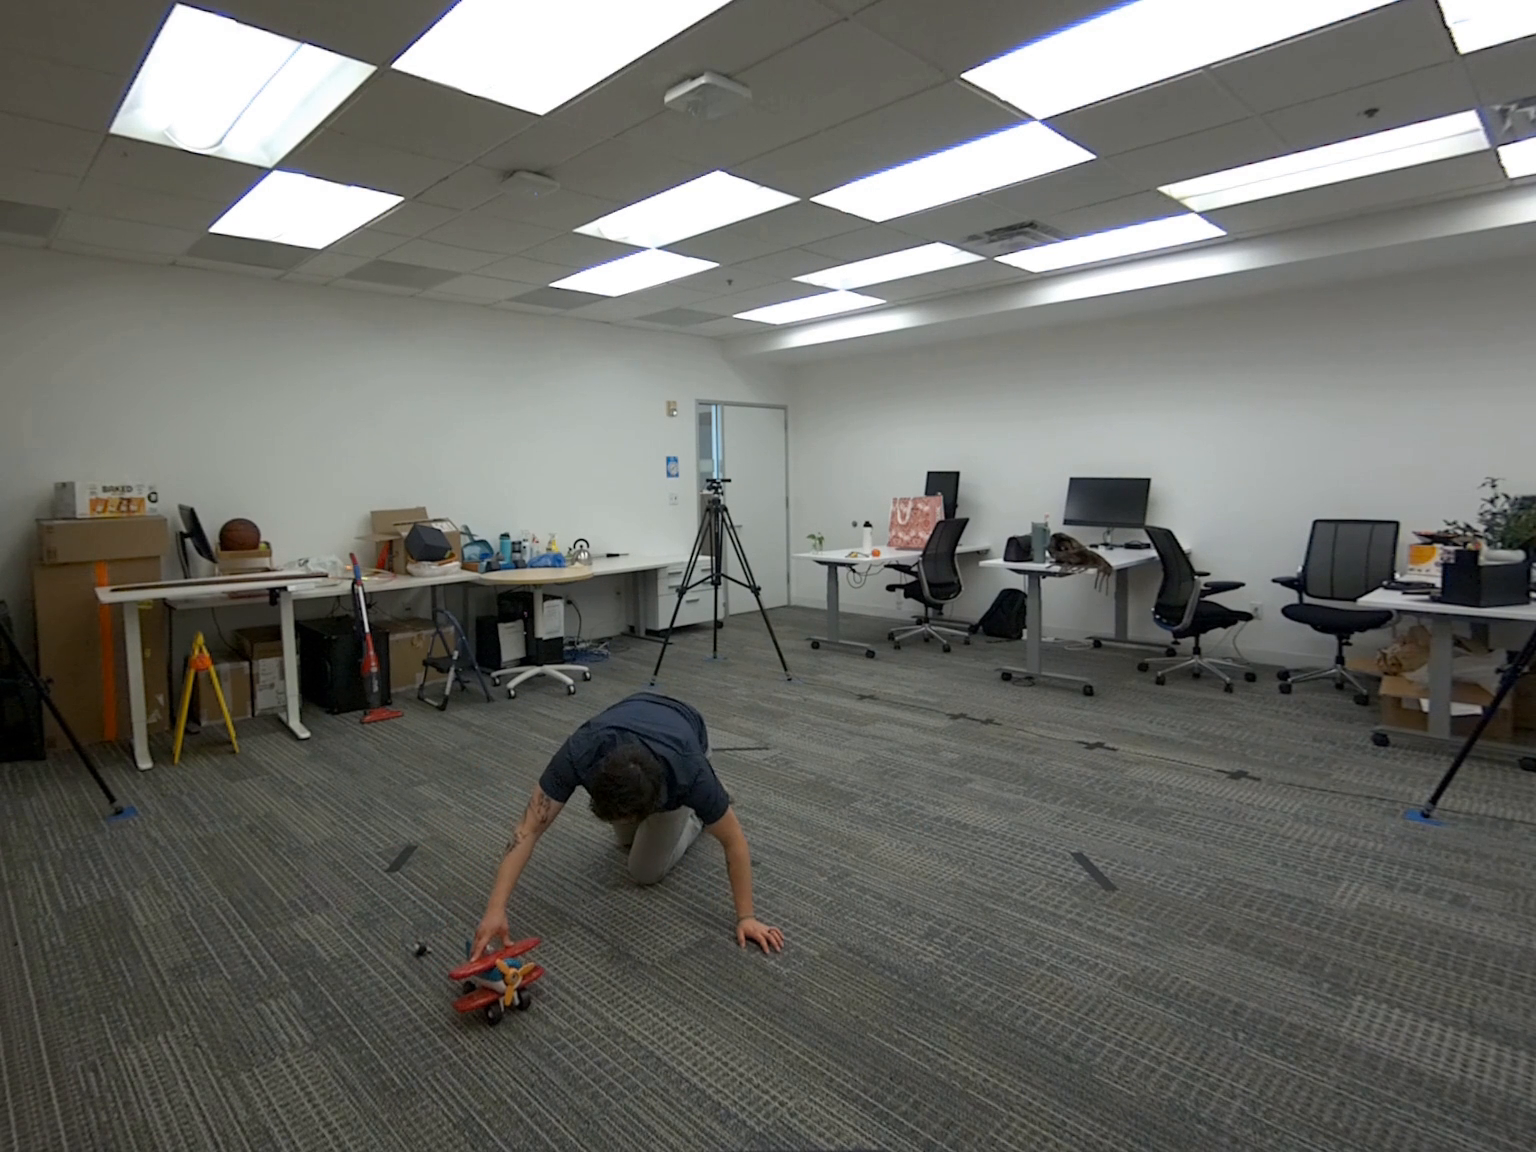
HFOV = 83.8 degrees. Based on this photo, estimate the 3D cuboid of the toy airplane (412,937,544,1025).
[{"bbox_3d":[-0.767,1.087,2.293,0.264,0.156,0.247,1,4,19],"label":"toy airplane"}]
